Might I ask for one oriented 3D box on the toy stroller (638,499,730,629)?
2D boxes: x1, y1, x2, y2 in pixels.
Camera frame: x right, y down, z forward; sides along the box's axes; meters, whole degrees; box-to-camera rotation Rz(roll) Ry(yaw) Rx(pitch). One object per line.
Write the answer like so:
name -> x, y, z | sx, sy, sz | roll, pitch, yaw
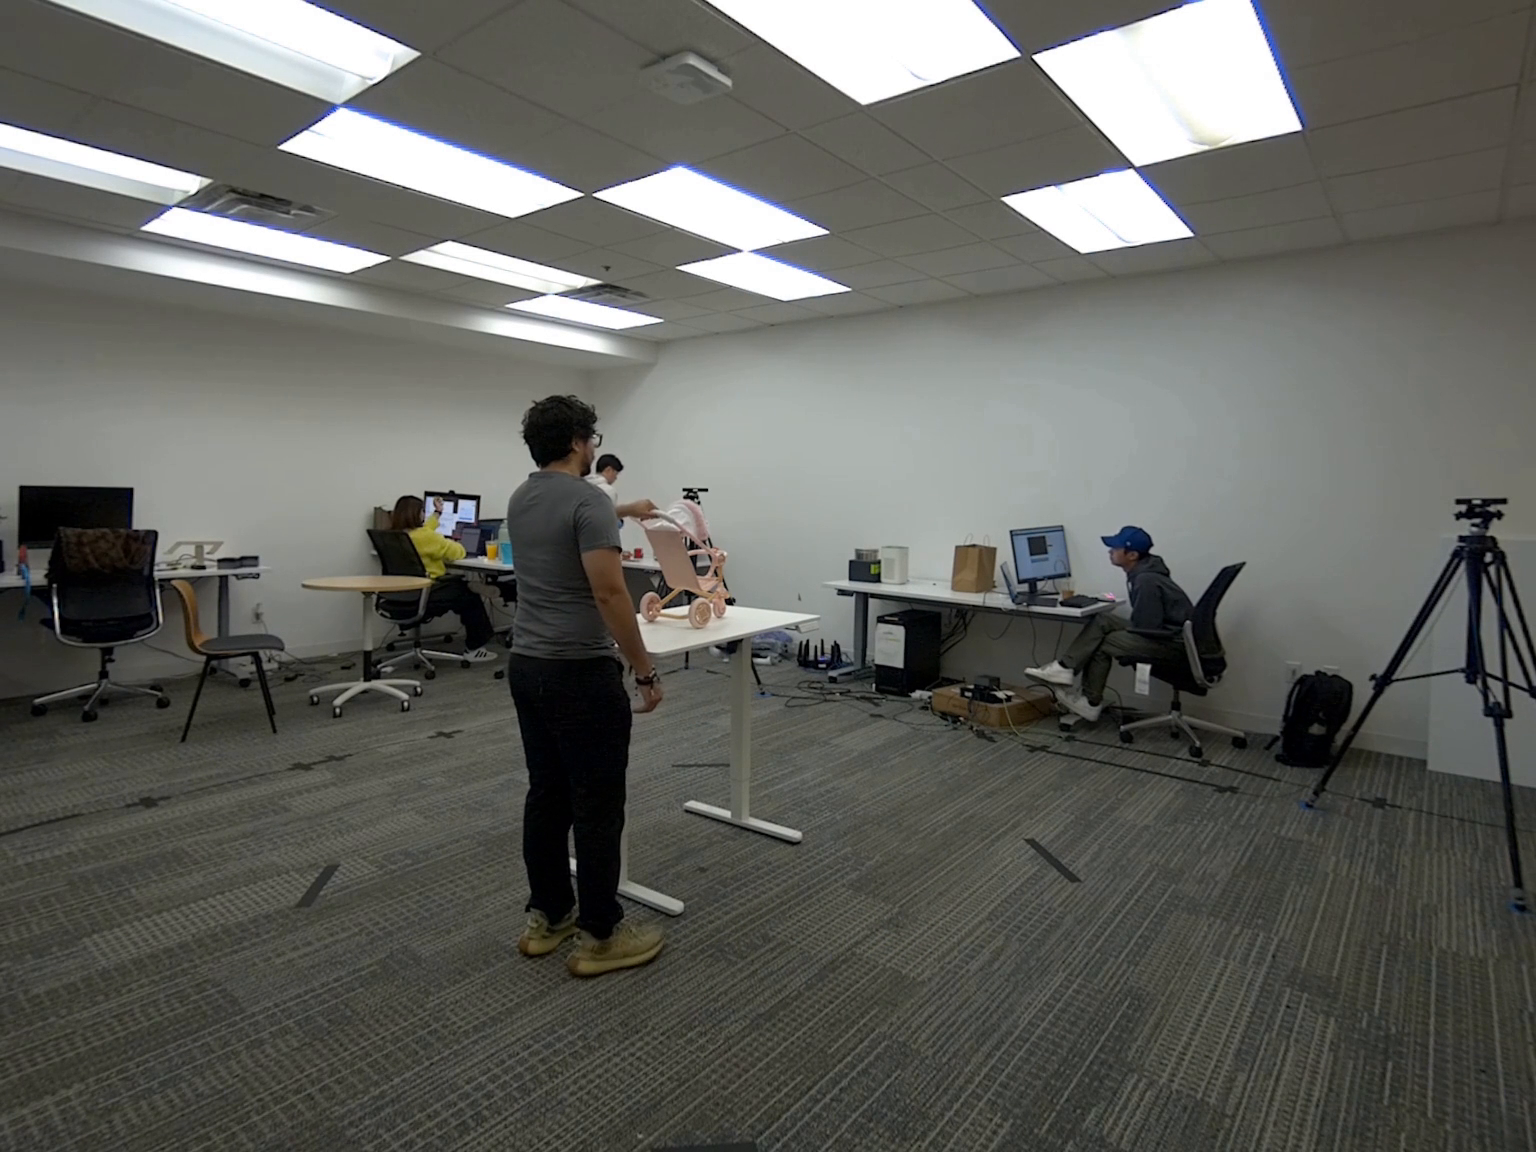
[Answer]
toy stroller -> -0.315, -0.049, 3.197 | 0.291, 0.526, 0.335 | 5, 21, 42
